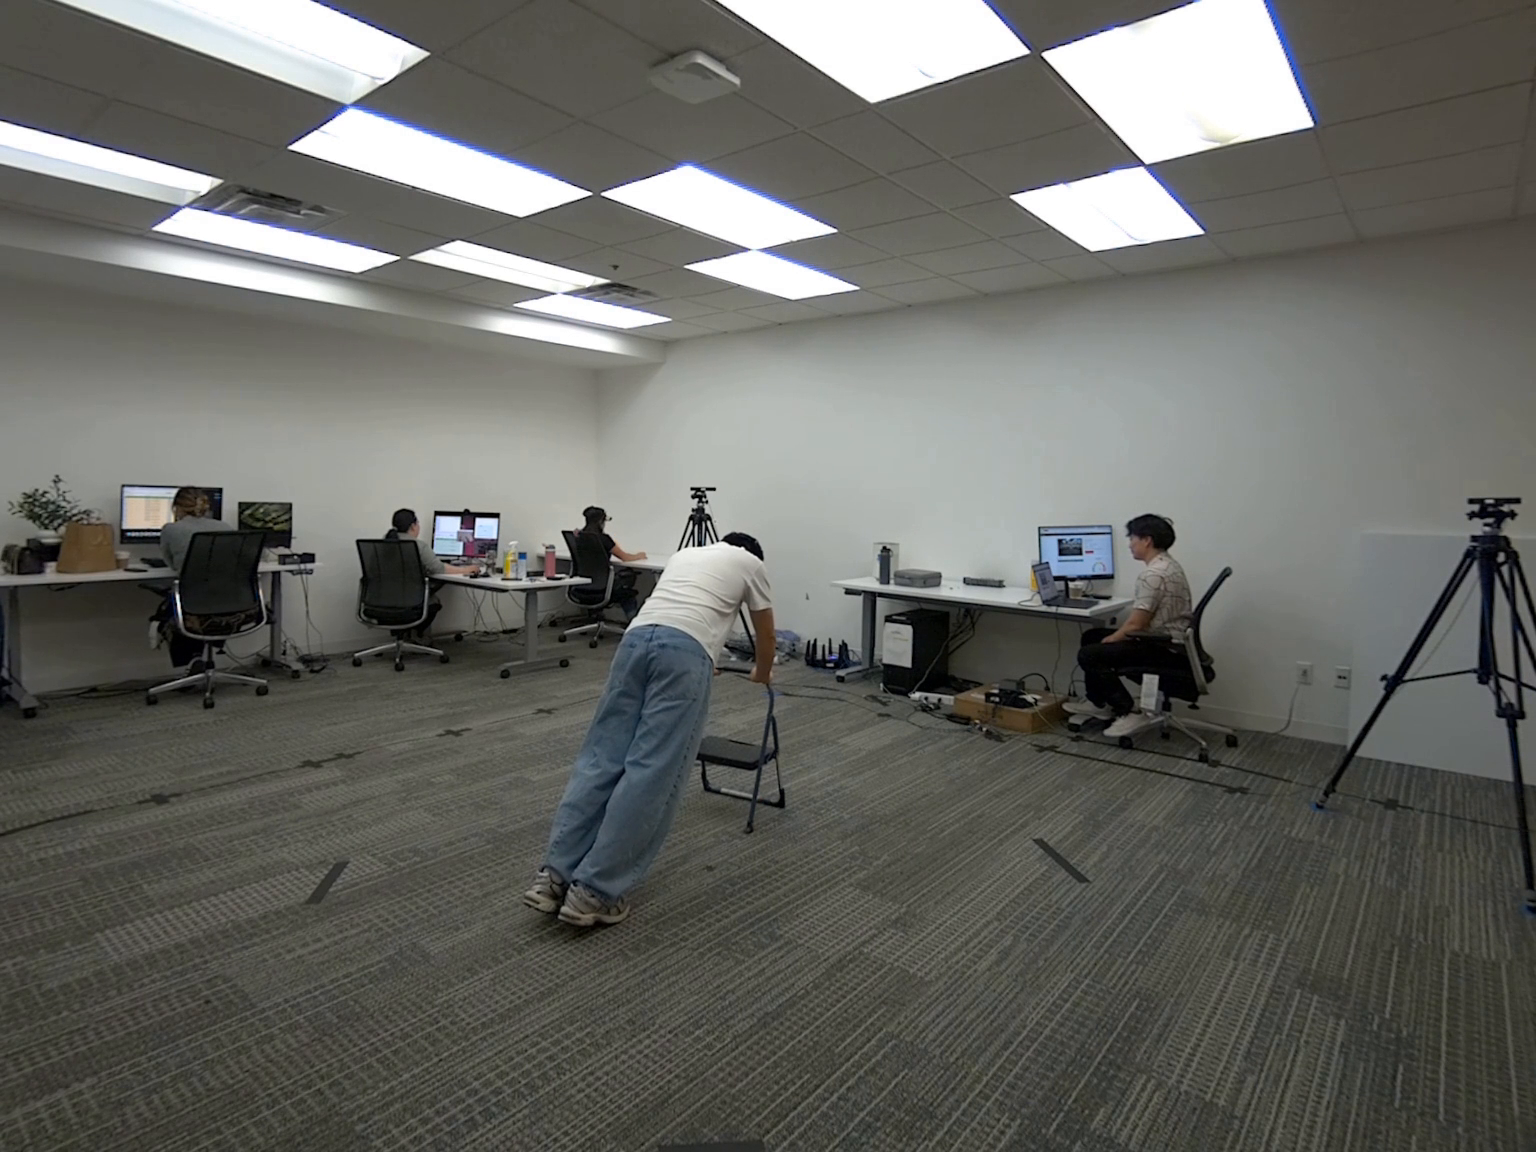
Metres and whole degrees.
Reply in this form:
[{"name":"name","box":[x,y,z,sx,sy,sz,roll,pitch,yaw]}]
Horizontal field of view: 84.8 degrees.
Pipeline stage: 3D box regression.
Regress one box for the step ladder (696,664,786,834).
[{"name":"step ladder","box":[-0.181,0.706,3.680,0.443,0.605,0.340,3,3,28]}]
